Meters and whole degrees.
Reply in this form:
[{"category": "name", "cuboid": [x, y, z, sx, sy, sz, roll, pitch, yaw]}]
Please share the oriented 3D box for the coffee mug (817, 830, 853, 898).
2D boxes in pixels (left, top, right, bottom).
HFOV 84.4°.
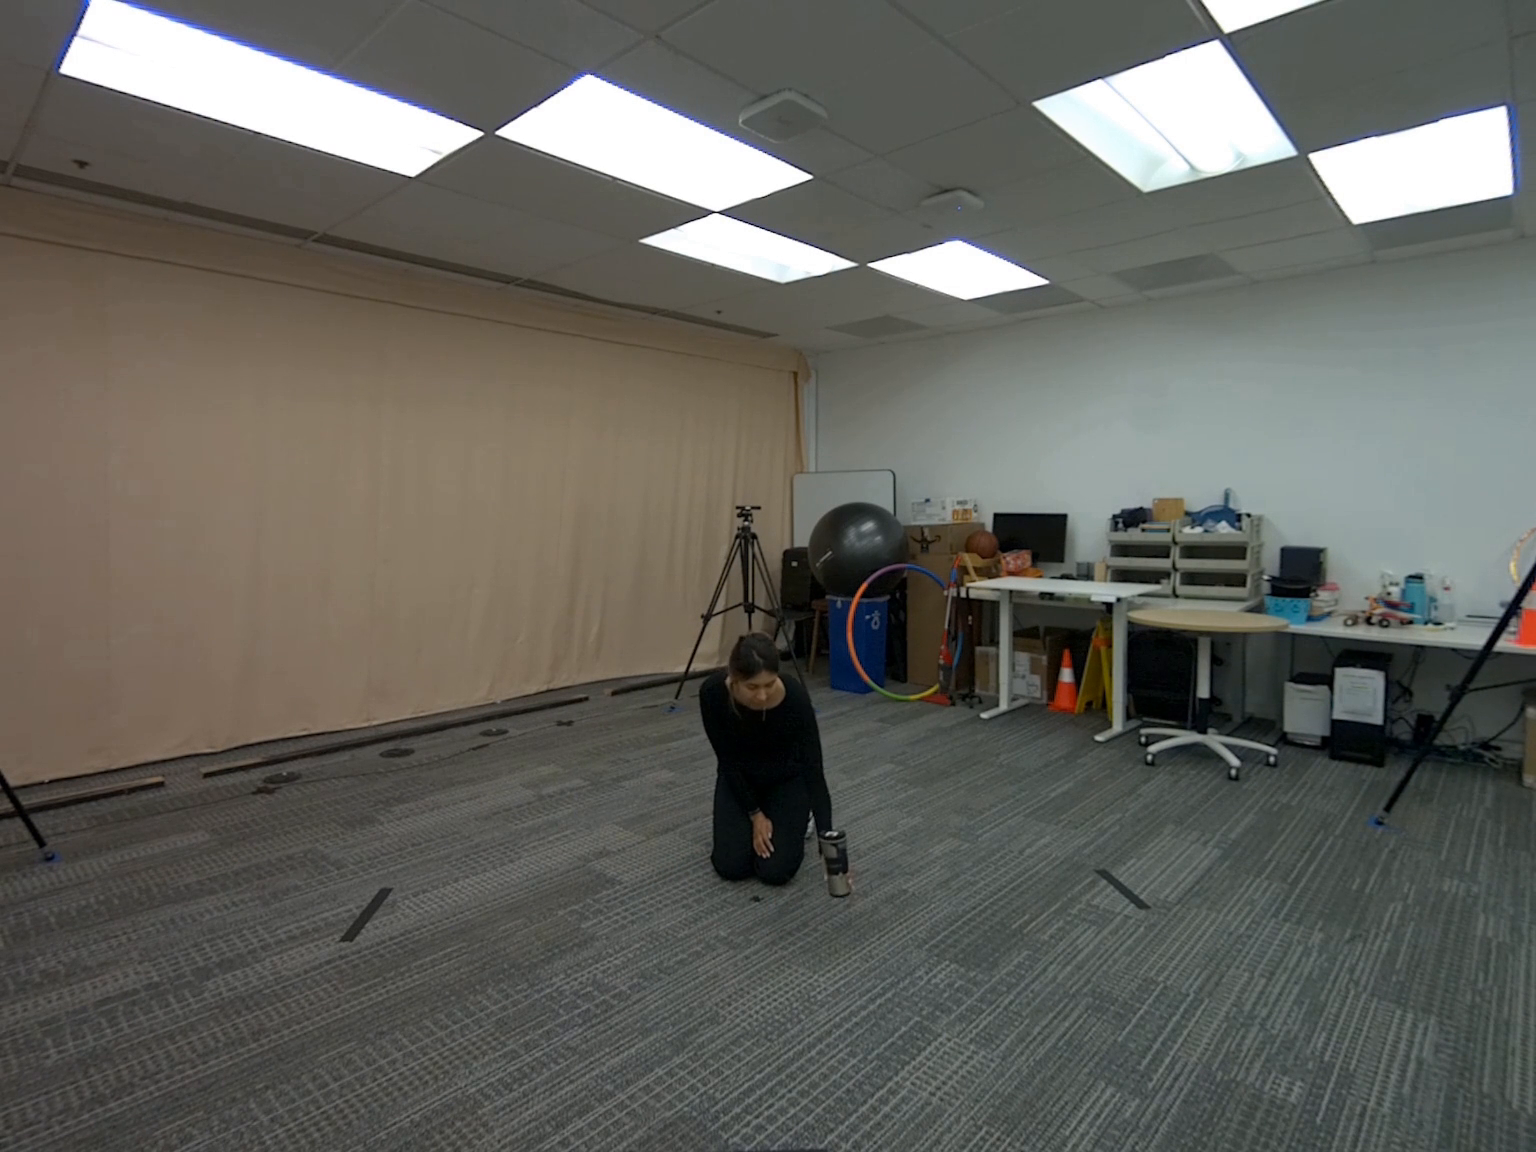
[{"category": "coffee mug", "cuboid": [0.223, 0.934, 2.733, 0.089, 0.203, 0.120, -5, -2, 9]}]
